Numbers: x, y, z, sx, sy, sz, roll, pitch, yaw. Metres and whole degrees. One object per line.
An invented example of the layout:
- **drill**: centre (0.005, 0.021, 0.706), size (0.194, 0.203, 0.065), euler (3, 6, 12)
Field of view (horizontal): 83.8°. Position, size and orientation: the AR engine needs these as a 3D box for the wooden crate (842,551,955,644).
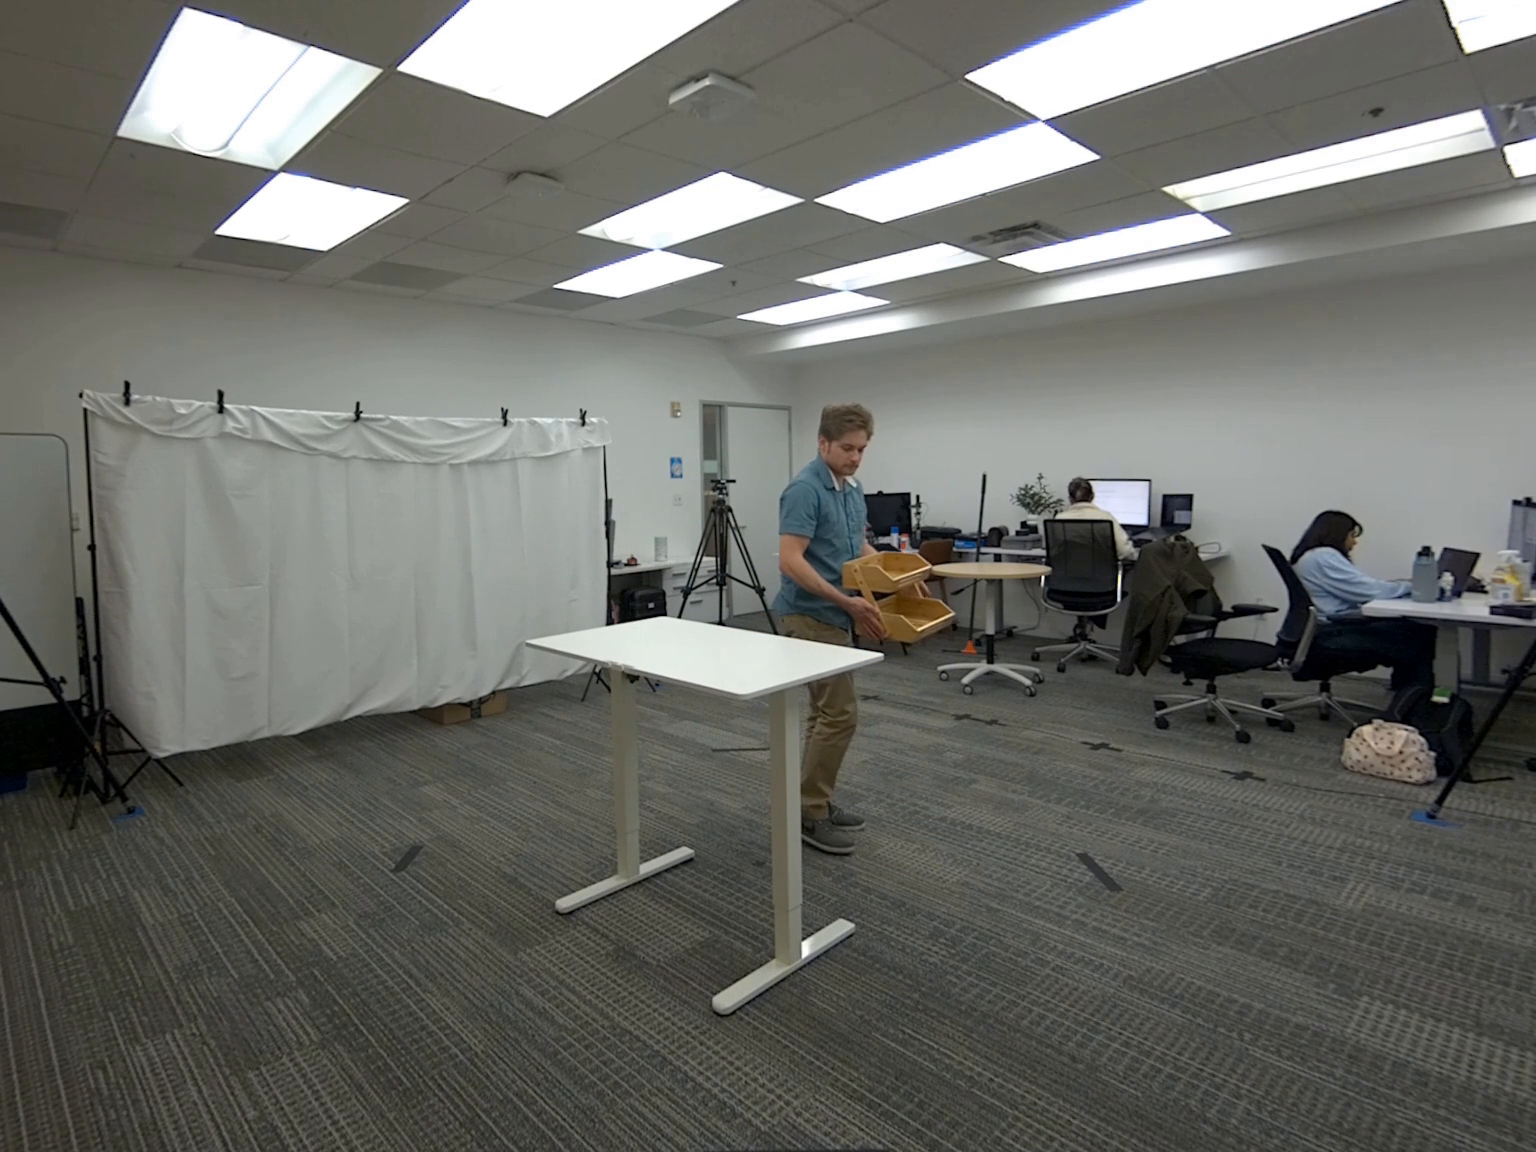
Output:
- **wooden crate**: centre (0.485, 0.065, 3.148), size (0.311, 0.271, 0.317), euler (5, 11, 38)
